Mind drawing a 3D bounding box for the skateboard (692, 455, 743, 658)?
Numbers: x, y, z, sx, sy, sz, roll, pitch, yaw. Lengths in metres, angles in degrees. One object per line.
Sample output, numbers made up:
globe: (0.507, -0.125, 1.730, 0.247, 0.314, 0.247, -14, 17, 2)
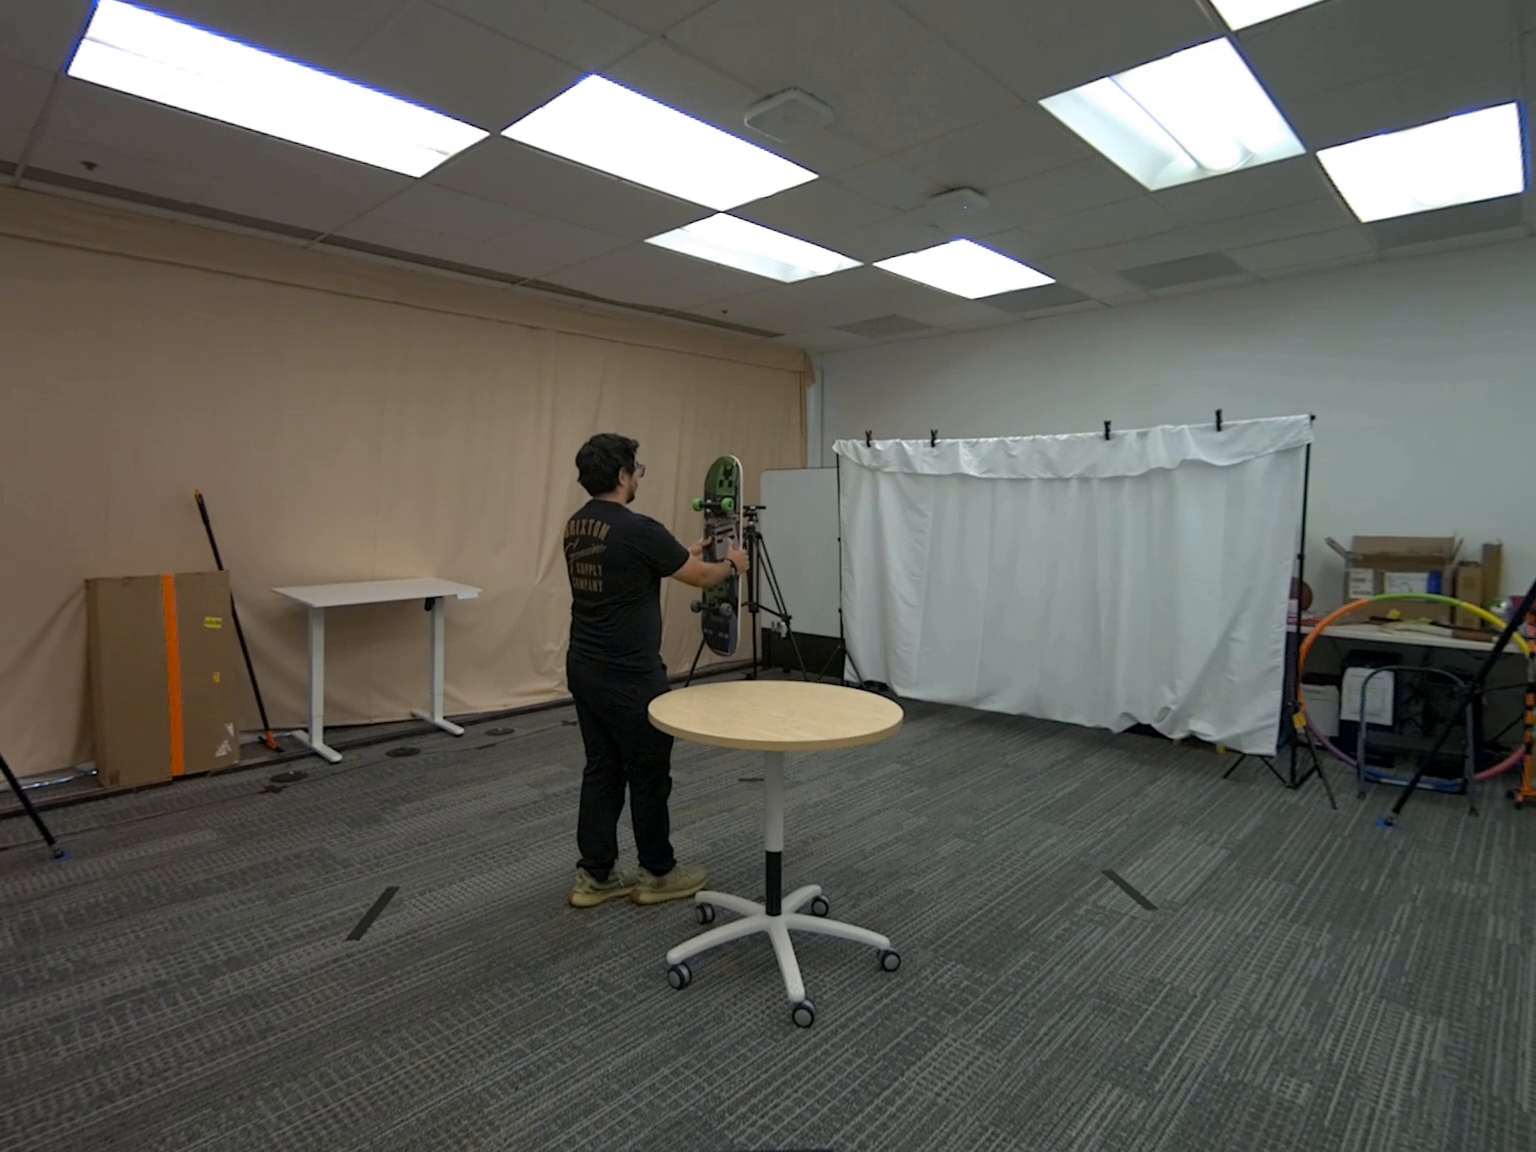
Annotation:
skateboard: (-0.196, -0.074, 3.271, 0.200, 0.785, 0.107, 3, 2, 41)
